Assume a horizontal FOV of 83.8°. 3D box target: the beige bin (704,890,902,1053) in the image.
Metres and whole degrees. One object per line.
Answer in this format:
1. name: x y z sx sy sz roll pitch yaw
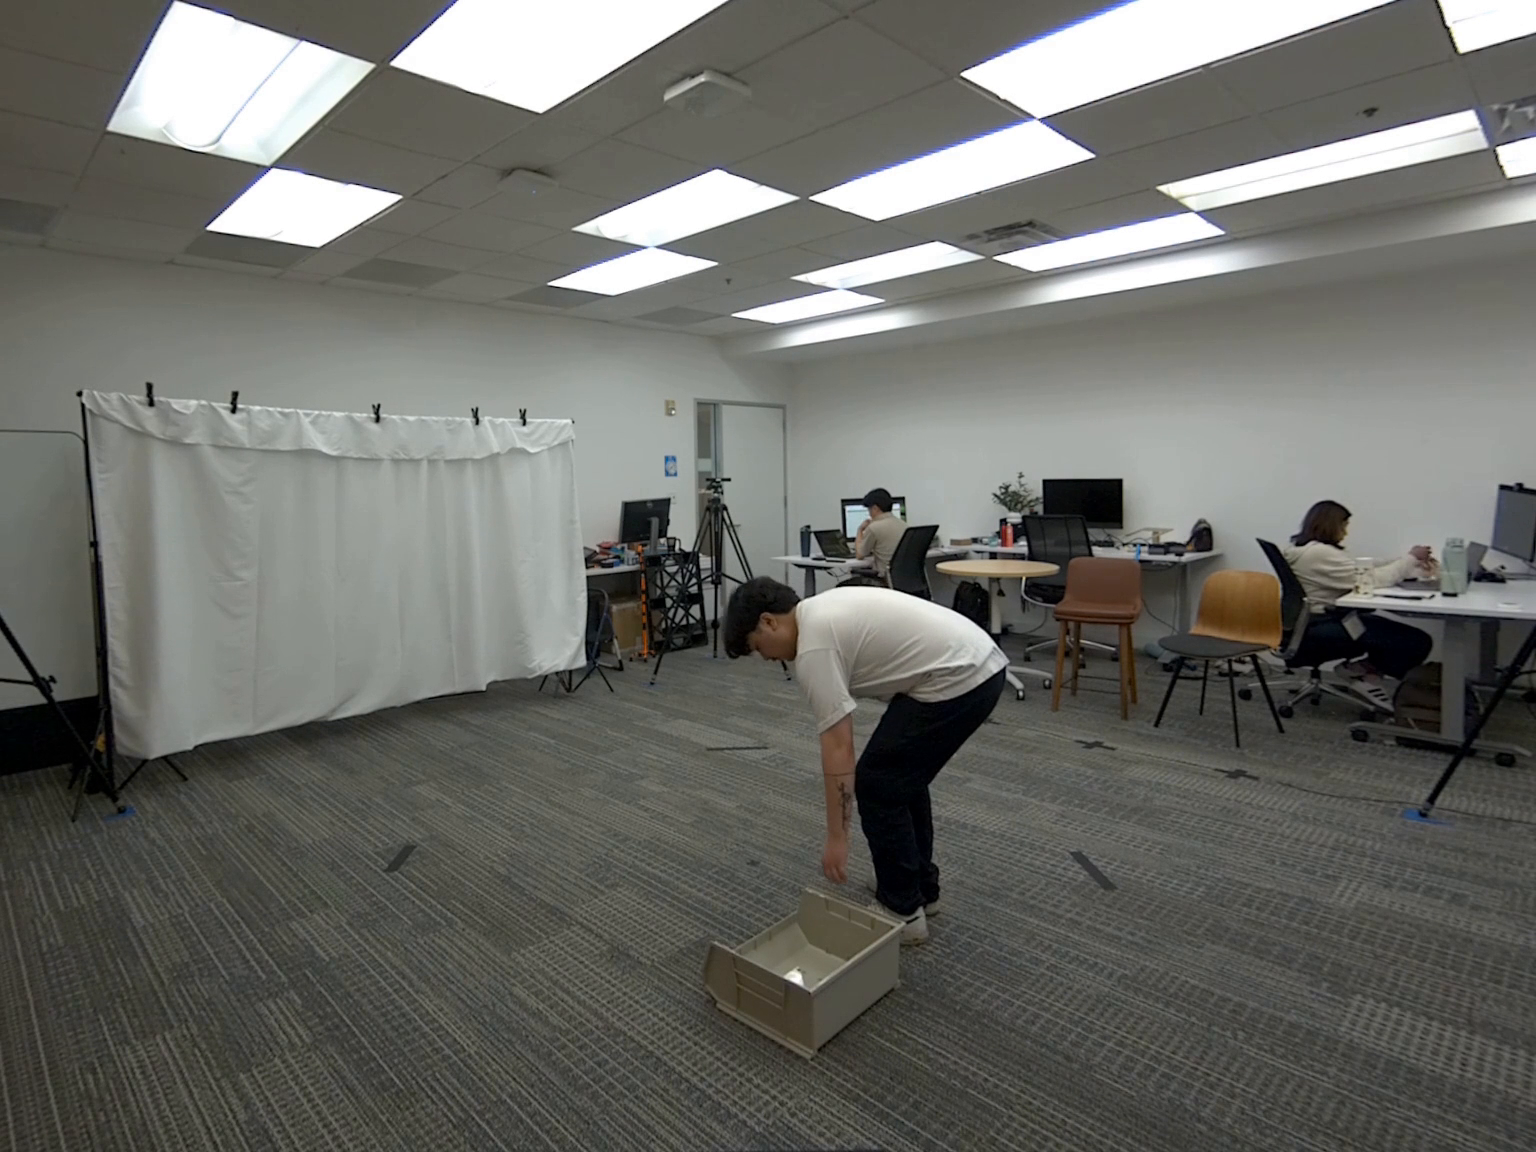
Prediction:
1. beige bin: 0.105 1.048 2.307 0.389 0.188 0.411 5 8 41
